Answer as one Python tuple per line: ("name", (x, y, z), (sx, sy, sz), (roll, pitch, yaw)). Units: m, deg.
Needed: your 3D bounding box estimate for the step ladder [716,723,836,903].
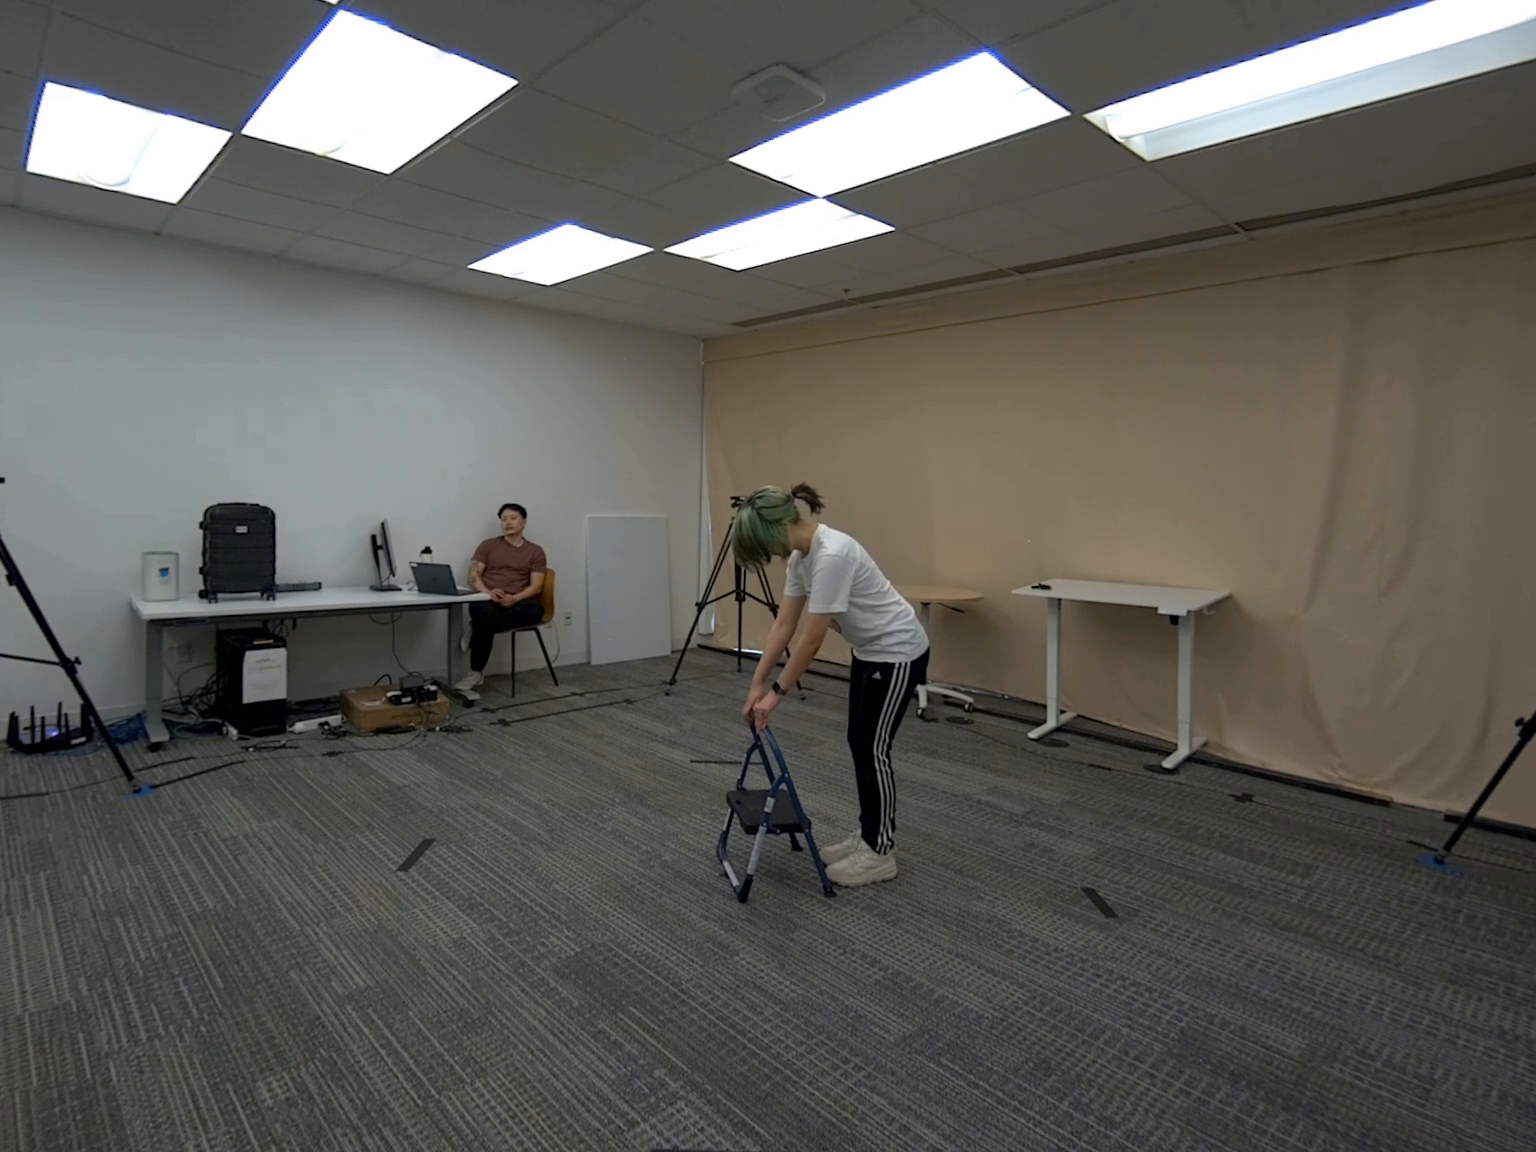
("step ladder", (0.020, 0.806, 3.103), (0.345, 0.605, 0.436), (1, 3, -14))
